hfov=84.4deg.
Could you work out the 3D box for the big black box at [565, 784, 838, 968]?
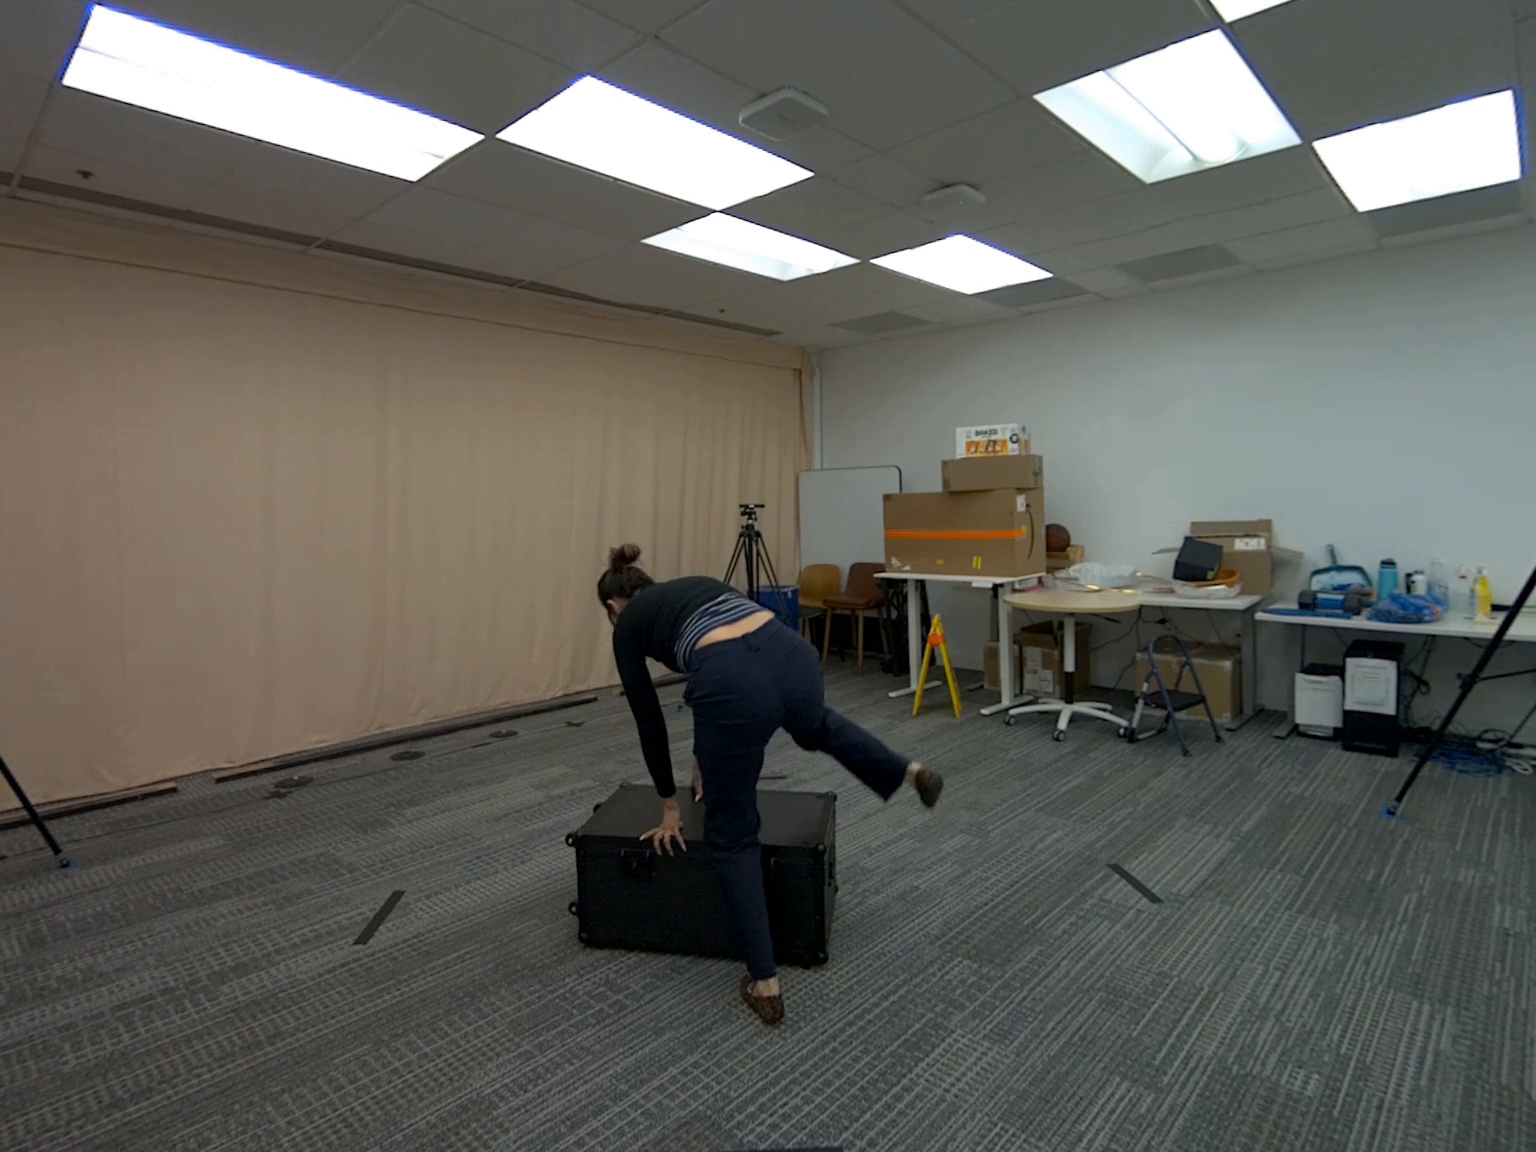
[{"bbox_3d":[-0.213,0.965,2.817,0.872,0.395,0.516,0,5,11],"label":"big black box"}]
